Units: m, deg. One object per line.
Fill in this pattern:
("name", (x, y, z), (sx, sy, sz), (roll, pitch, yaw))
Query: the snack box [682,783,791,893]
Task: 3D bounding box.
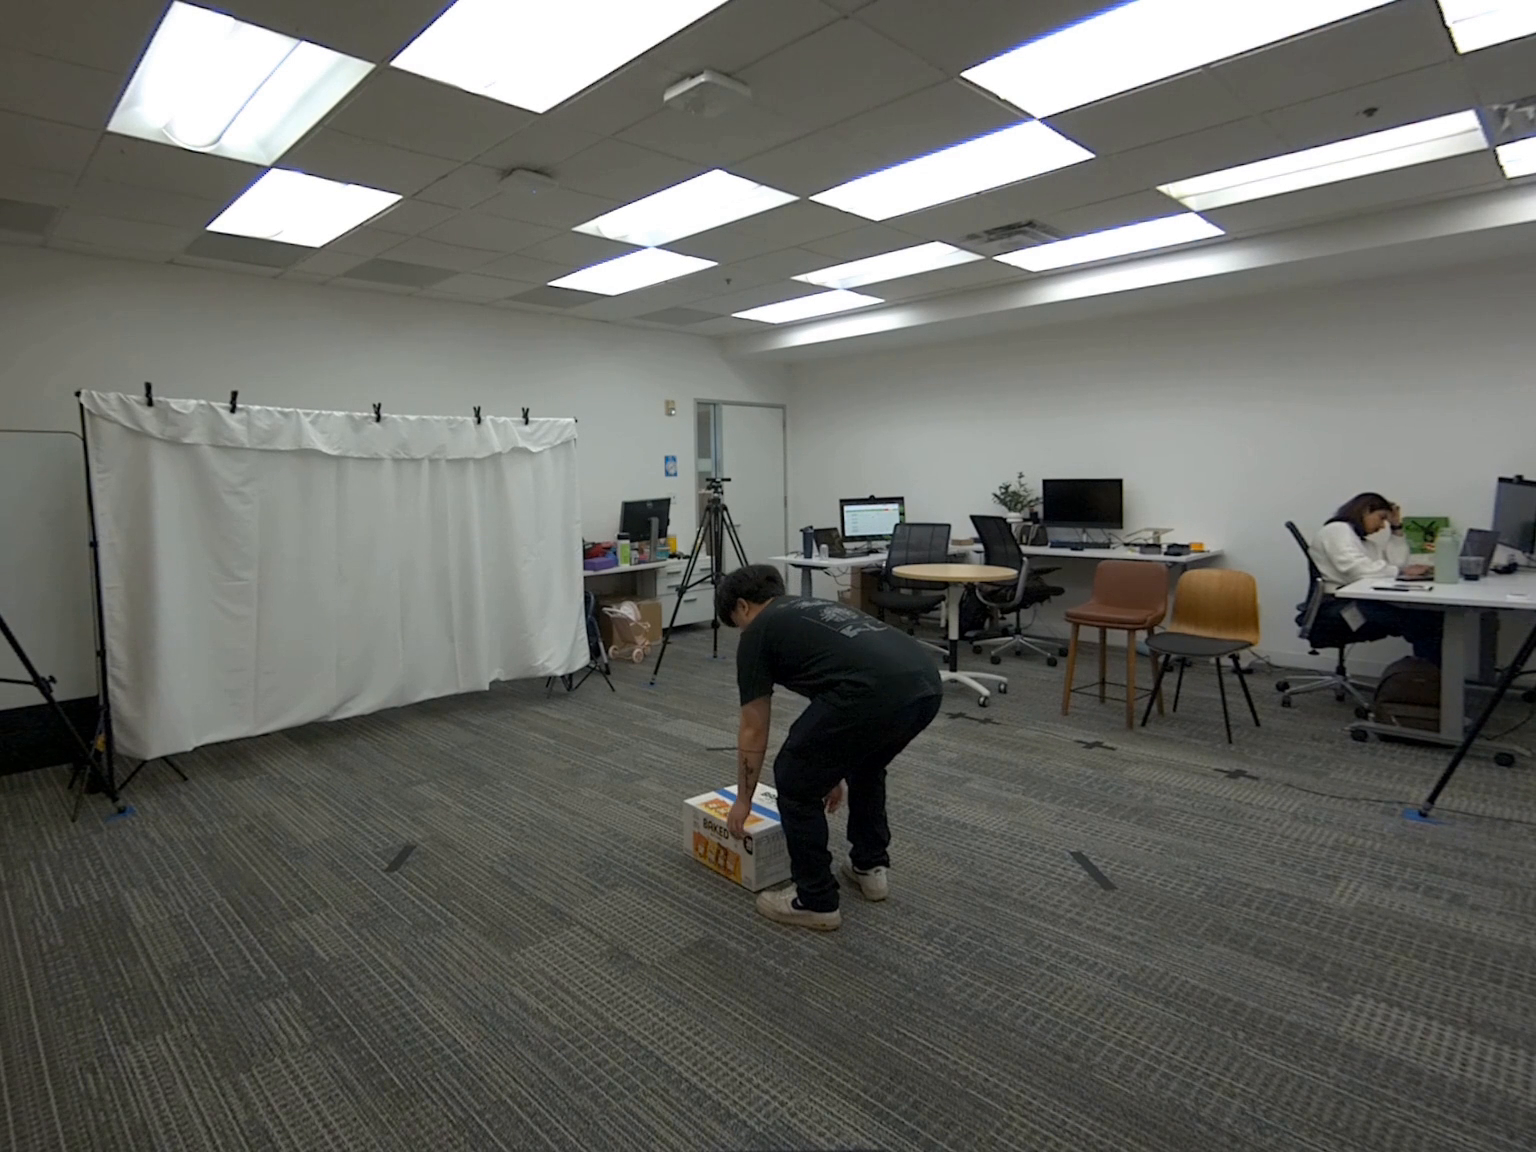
("snack box", (-0.054, 0.937, 3.124), (0.331, 0.205, 0.417), (-6, 7, -39))
